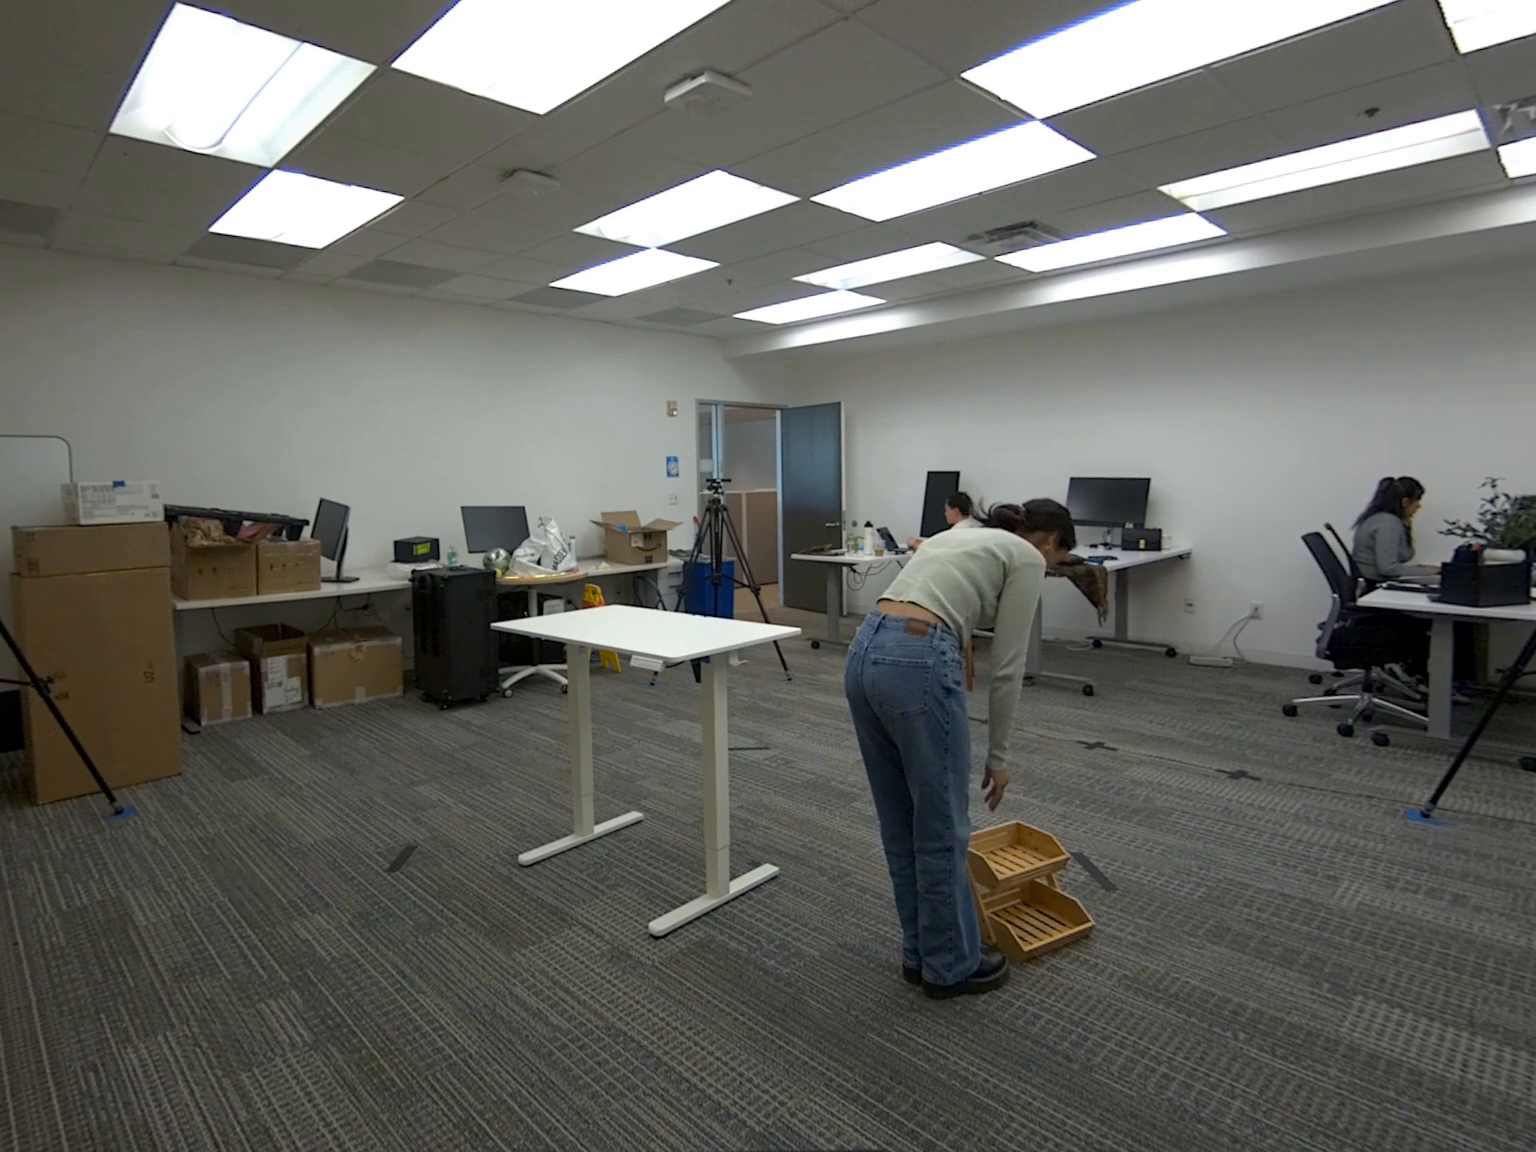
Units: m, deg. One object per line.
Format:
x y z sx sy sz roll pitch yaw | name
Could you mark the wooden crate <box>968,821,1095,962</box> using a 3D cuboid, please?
0.781 0.953 2.610 0.317 0.272 0.310 -5 6 -30 | wooden crate
